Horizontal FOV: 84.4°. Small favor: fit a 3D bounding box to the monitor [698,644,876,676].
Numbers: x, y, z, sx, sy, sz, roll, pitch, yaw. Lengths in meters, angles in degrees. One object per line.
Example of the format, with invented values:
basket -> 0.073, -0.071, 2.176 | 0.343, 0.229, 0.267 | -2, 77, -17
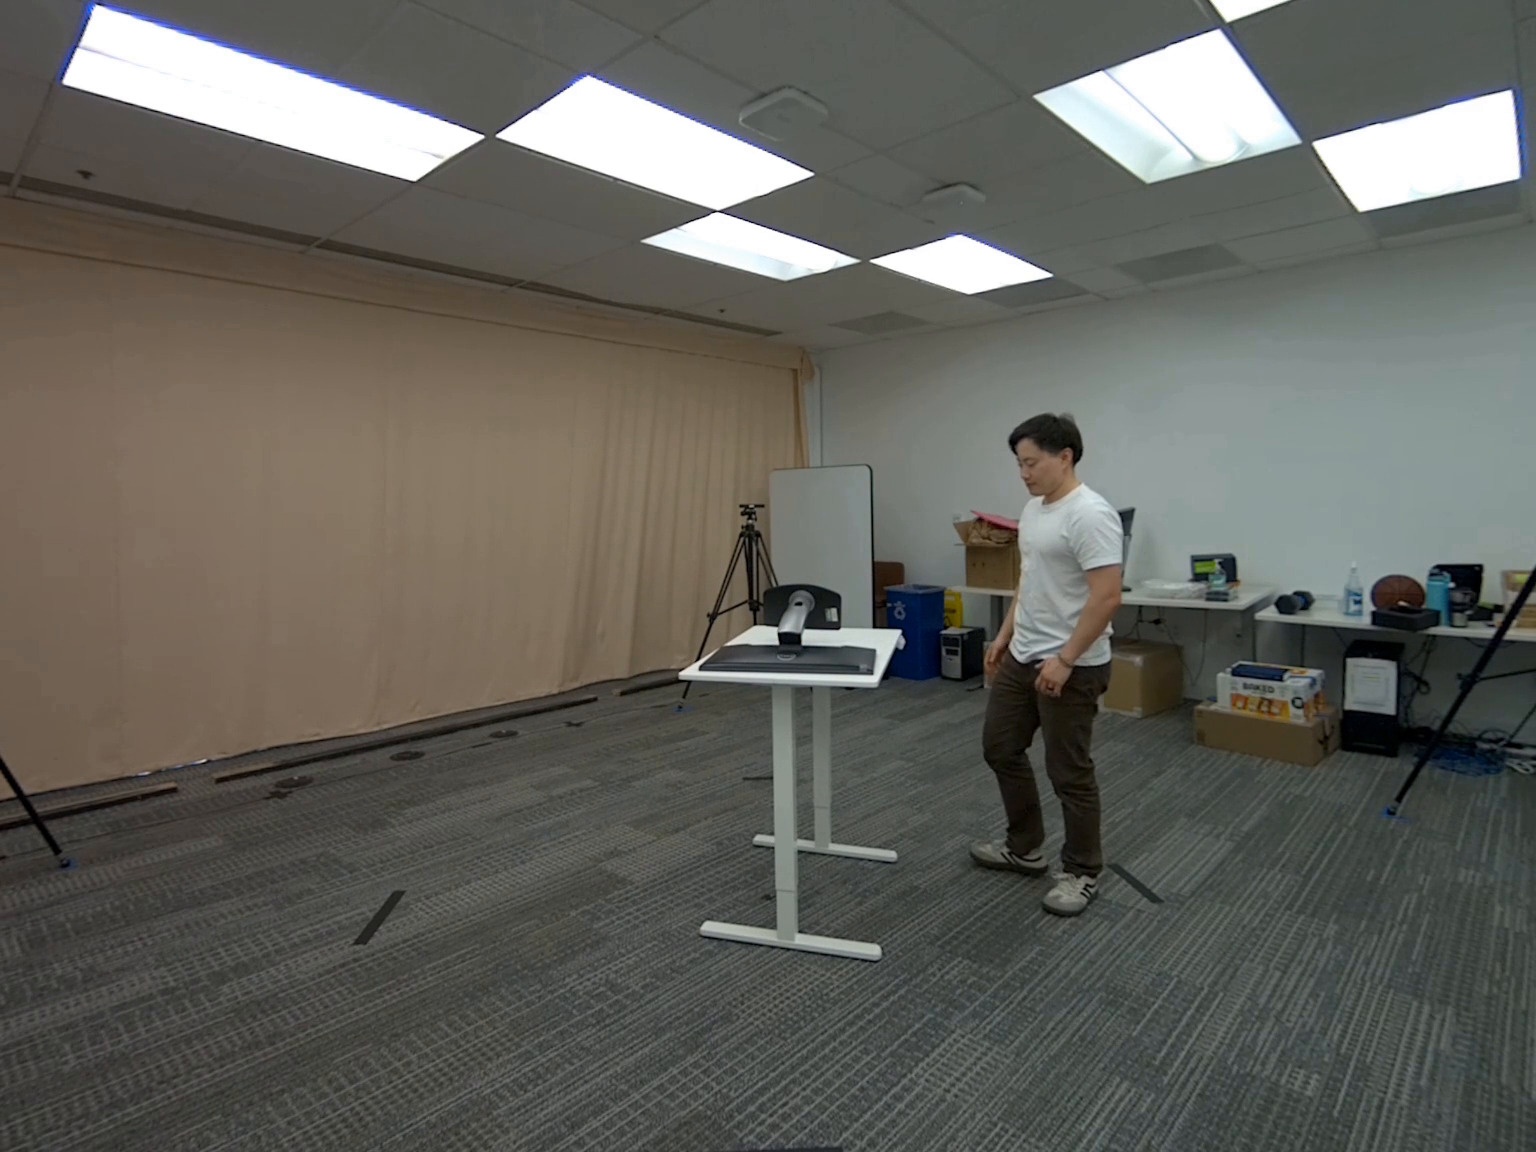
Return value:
monitor -> 0.096, 0.212, 2.799 | 0.546, 0.184, 0.524 | -2, 23, 12
